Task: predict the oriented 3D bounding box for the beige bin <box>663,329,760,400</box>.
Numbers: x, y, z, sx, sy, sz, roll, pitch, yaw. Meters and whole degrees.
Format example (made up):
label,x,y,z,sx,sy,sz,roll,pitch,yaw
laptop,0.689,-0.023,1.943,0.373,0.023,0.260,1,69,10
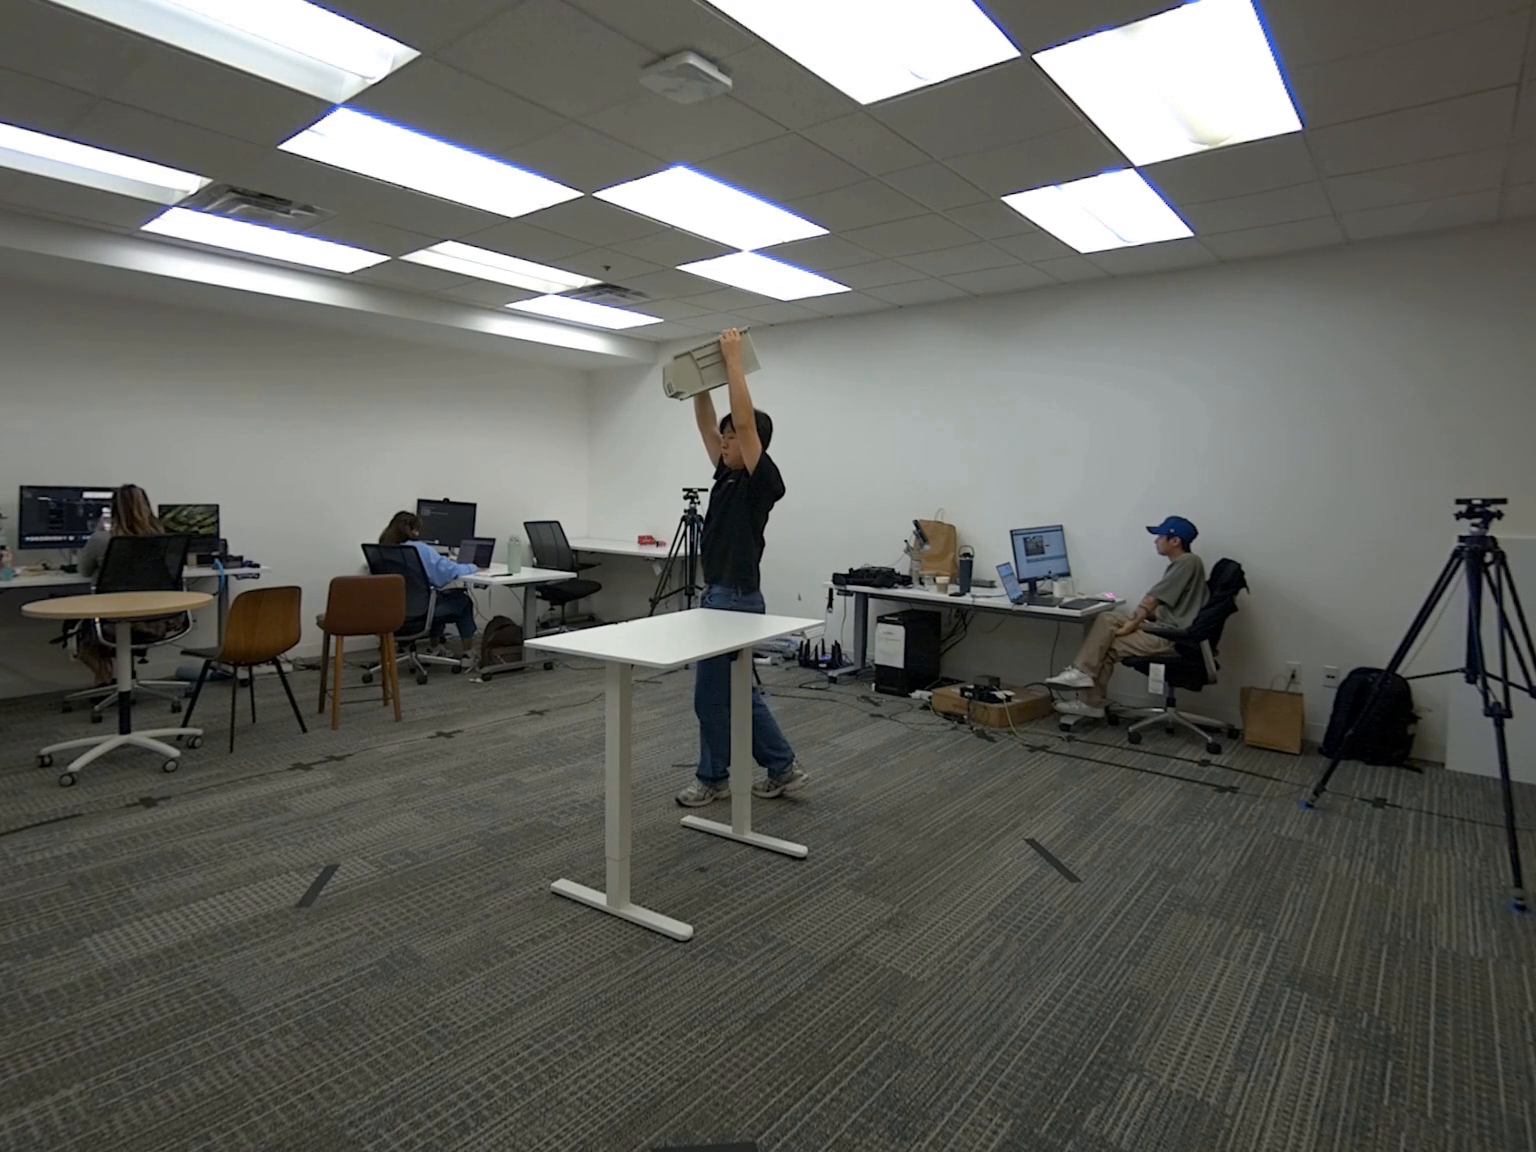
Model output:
label,x,y,z,sx,sy,sz,roll,pitch,yaw
beige bin,-0.262,-0.904,3.665,0.375,0.187,0.429,-21,11,-7
